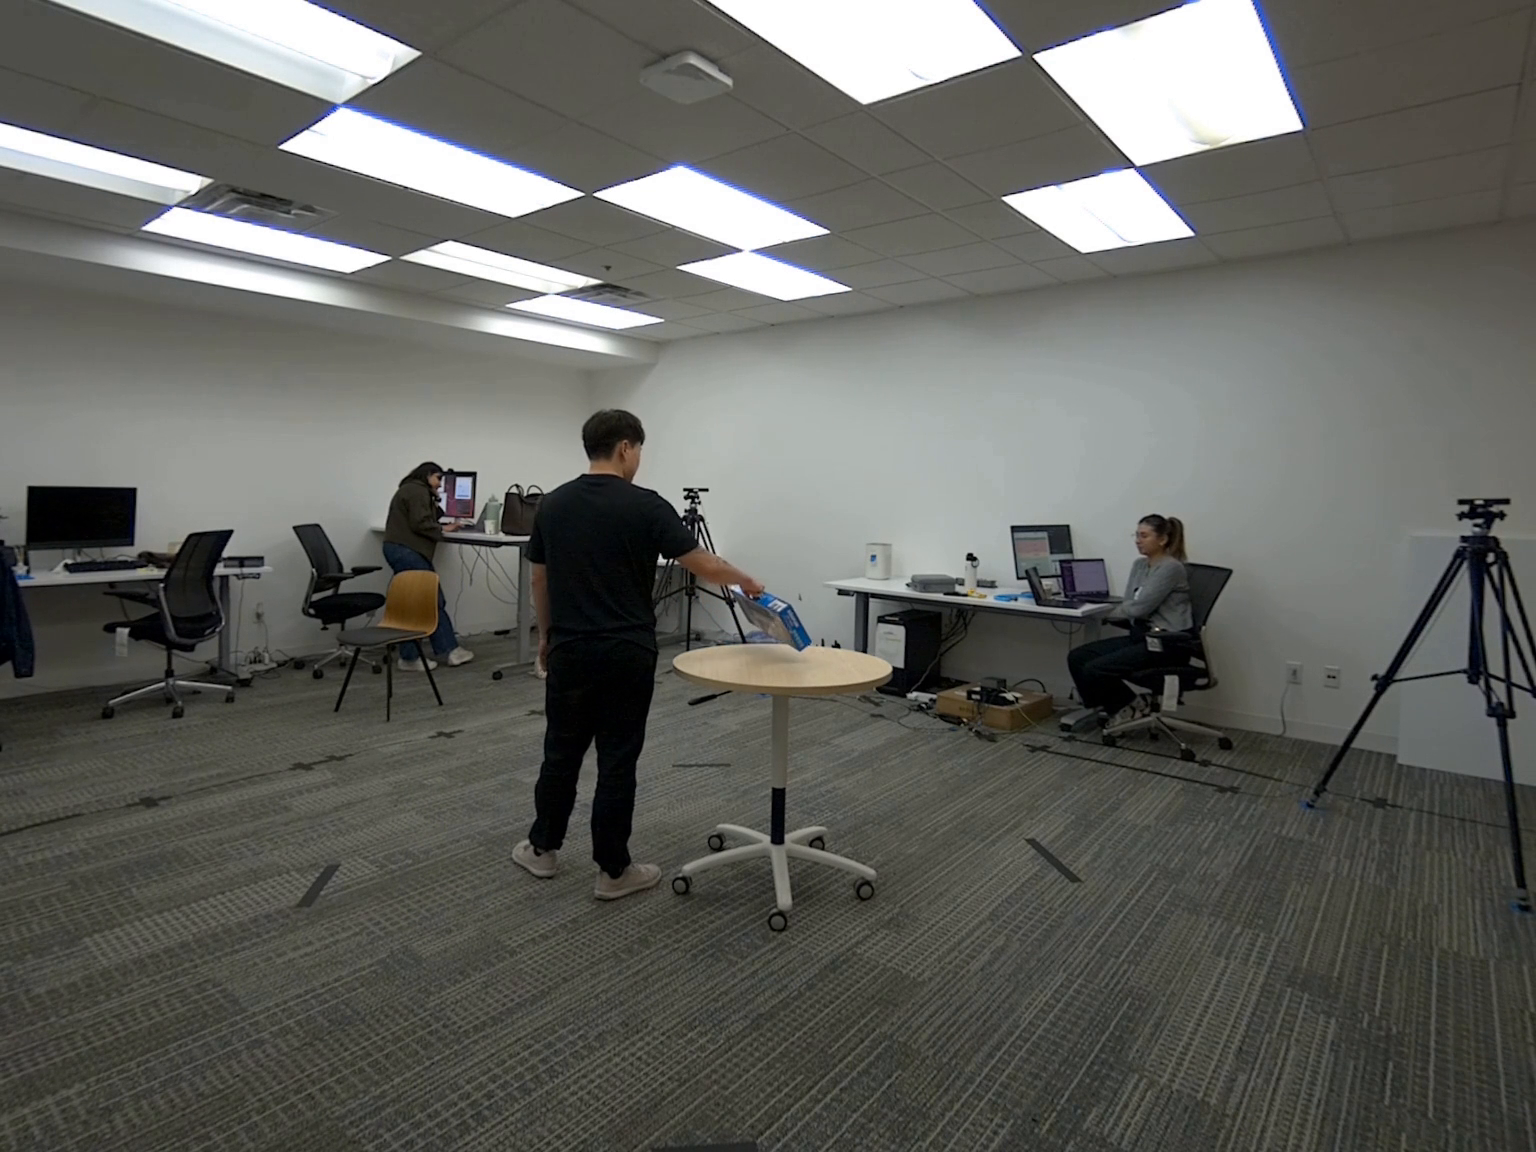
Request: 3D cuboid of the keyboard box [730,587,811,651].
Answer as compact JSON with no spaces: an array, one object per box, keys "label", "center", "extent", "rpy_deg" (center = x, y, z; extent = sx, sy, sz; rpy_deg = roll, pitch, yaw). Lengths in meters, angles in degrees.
[{"label":"keyboard box","center":[-0.012,0.142,3.160],"extent":[0.059,0.171,0.451],"rpy_deg":[-34,22,-16]}]
